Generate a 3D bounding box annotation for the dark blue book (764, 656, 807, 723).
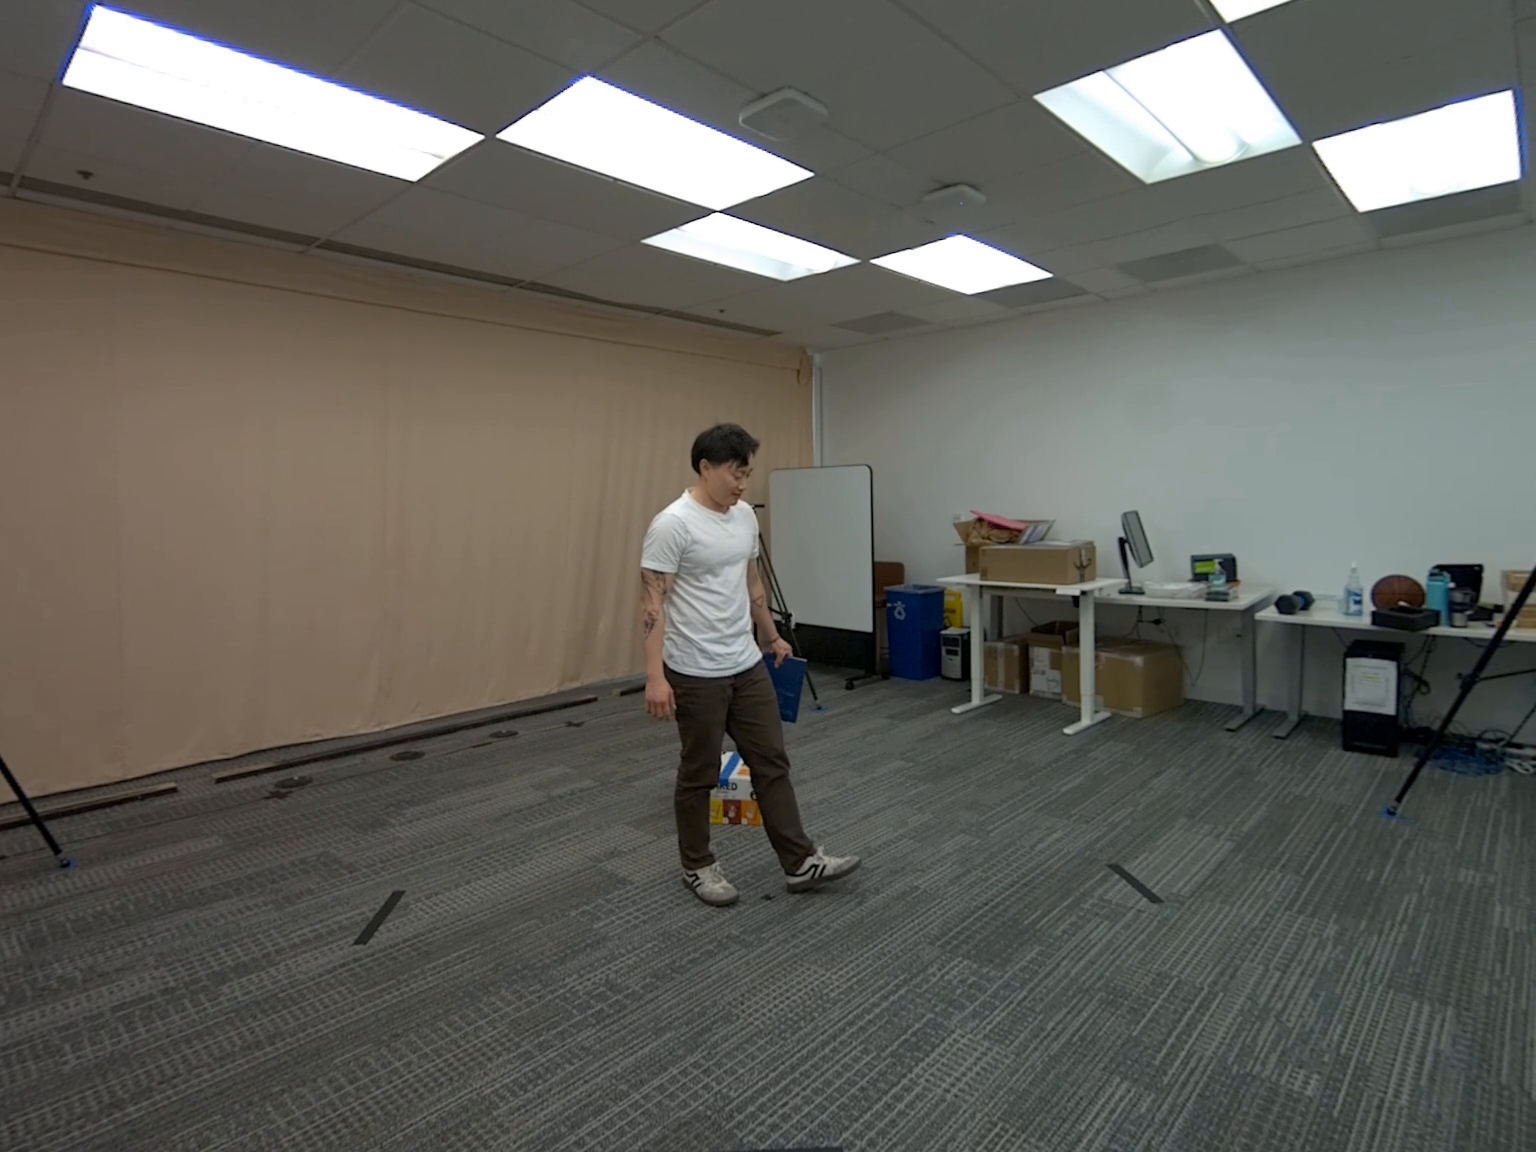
[{"bbox_3d":[0.048,0.434,3.239,0.165,0.245,0.045,9,2,9],"label":"dark blue book"}]
